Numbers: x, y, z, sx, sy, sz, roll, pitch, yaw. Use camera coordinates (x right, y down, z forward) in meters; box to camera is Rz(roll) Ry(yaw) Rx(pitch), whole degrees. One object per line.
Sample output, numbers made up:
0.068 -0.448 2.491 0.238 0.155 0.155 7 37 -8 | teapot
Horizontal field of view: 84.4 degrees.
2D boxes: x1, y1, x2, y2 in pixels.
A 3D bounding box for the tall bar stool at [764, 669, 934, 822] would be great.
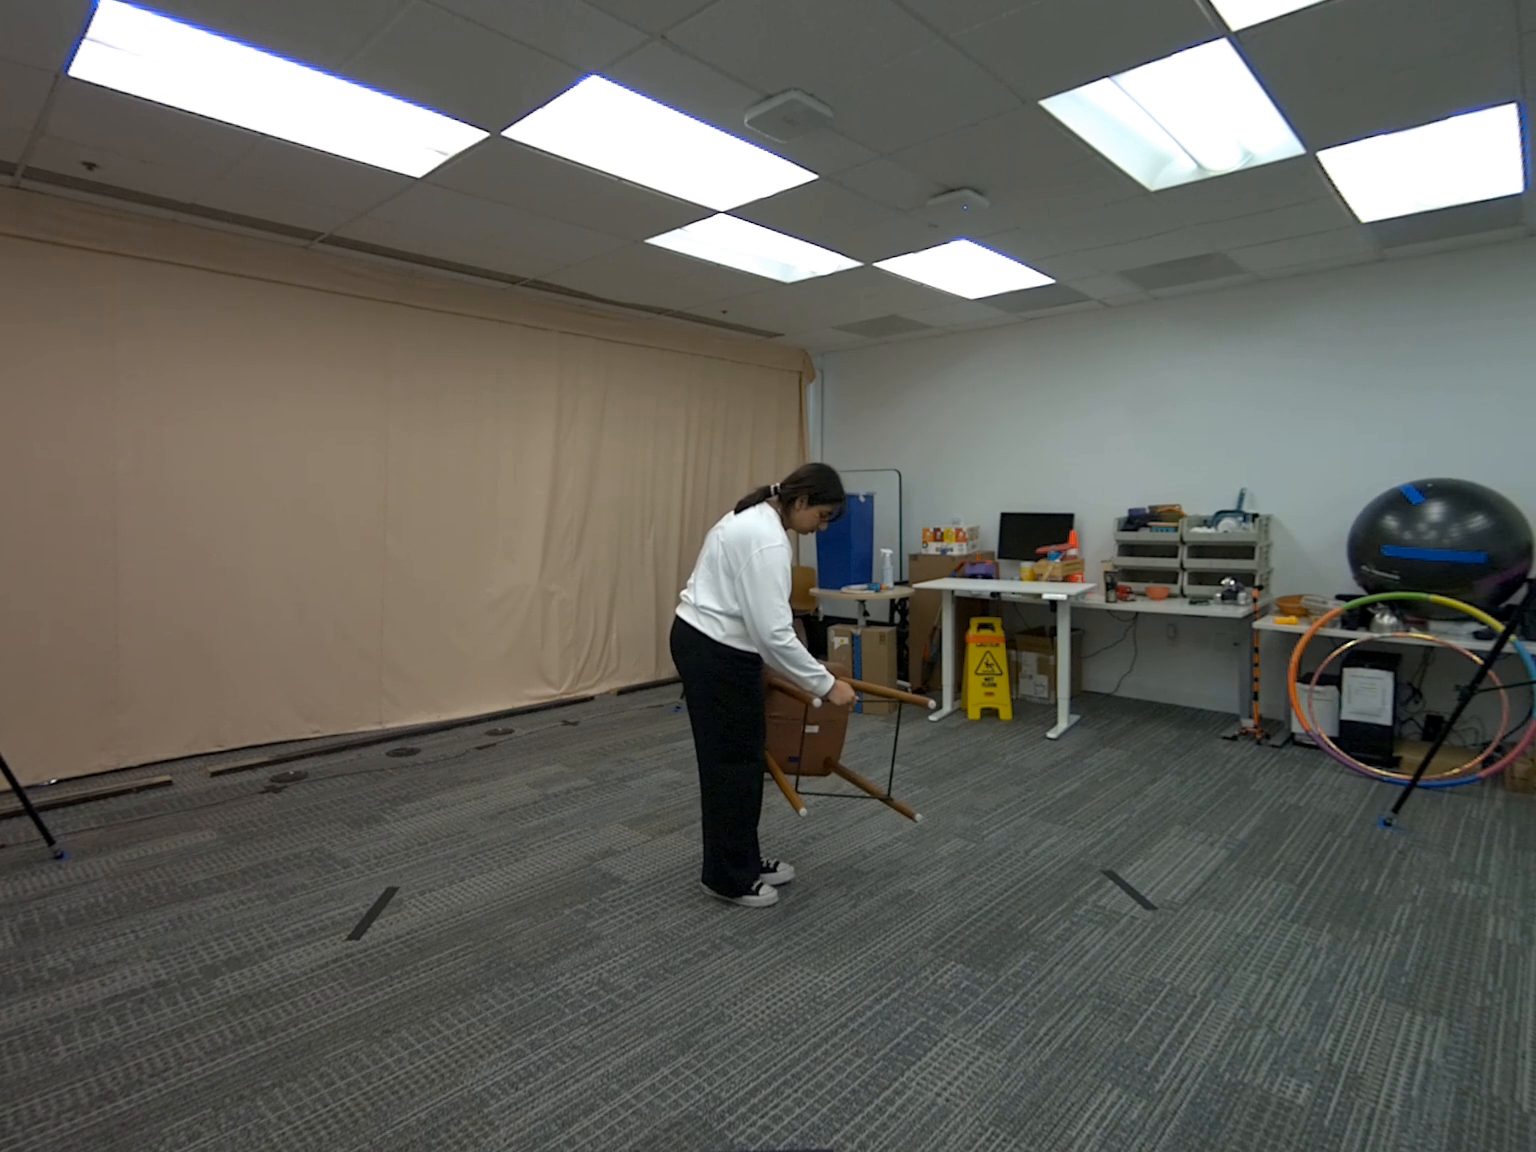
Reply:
0.158 0.554 3.106 0.456 0.456 0.912 6 2 -24 | tall bar stool
